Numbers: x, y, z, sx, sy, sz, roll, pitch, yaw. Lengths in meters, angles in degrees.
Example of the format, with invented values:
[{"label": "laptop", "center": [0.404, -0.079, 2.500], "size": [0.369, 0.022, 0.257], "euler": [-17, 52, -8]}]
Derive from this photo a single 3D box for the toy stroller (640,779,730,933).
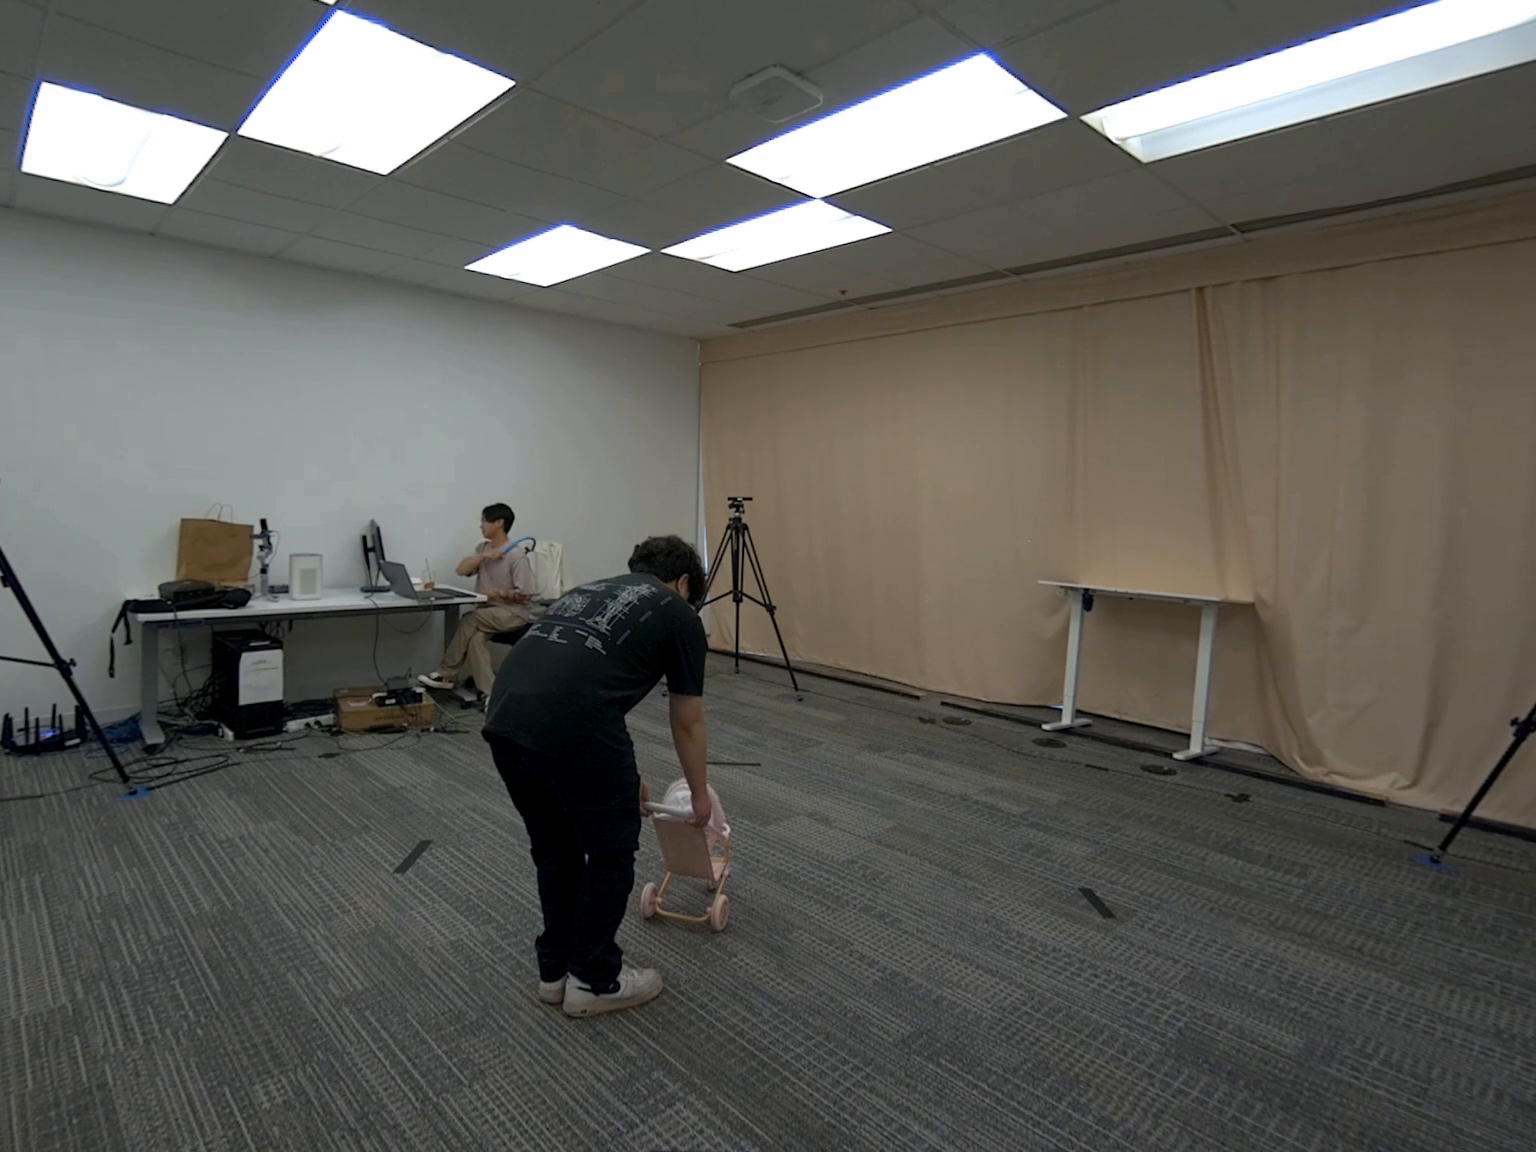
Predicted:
[{"label": "toy stroller", "center": [-0.253, 0.909, 2.803], "size": [0.286, 0.528, 0.340], "euler": [4, 19, 21]}]
